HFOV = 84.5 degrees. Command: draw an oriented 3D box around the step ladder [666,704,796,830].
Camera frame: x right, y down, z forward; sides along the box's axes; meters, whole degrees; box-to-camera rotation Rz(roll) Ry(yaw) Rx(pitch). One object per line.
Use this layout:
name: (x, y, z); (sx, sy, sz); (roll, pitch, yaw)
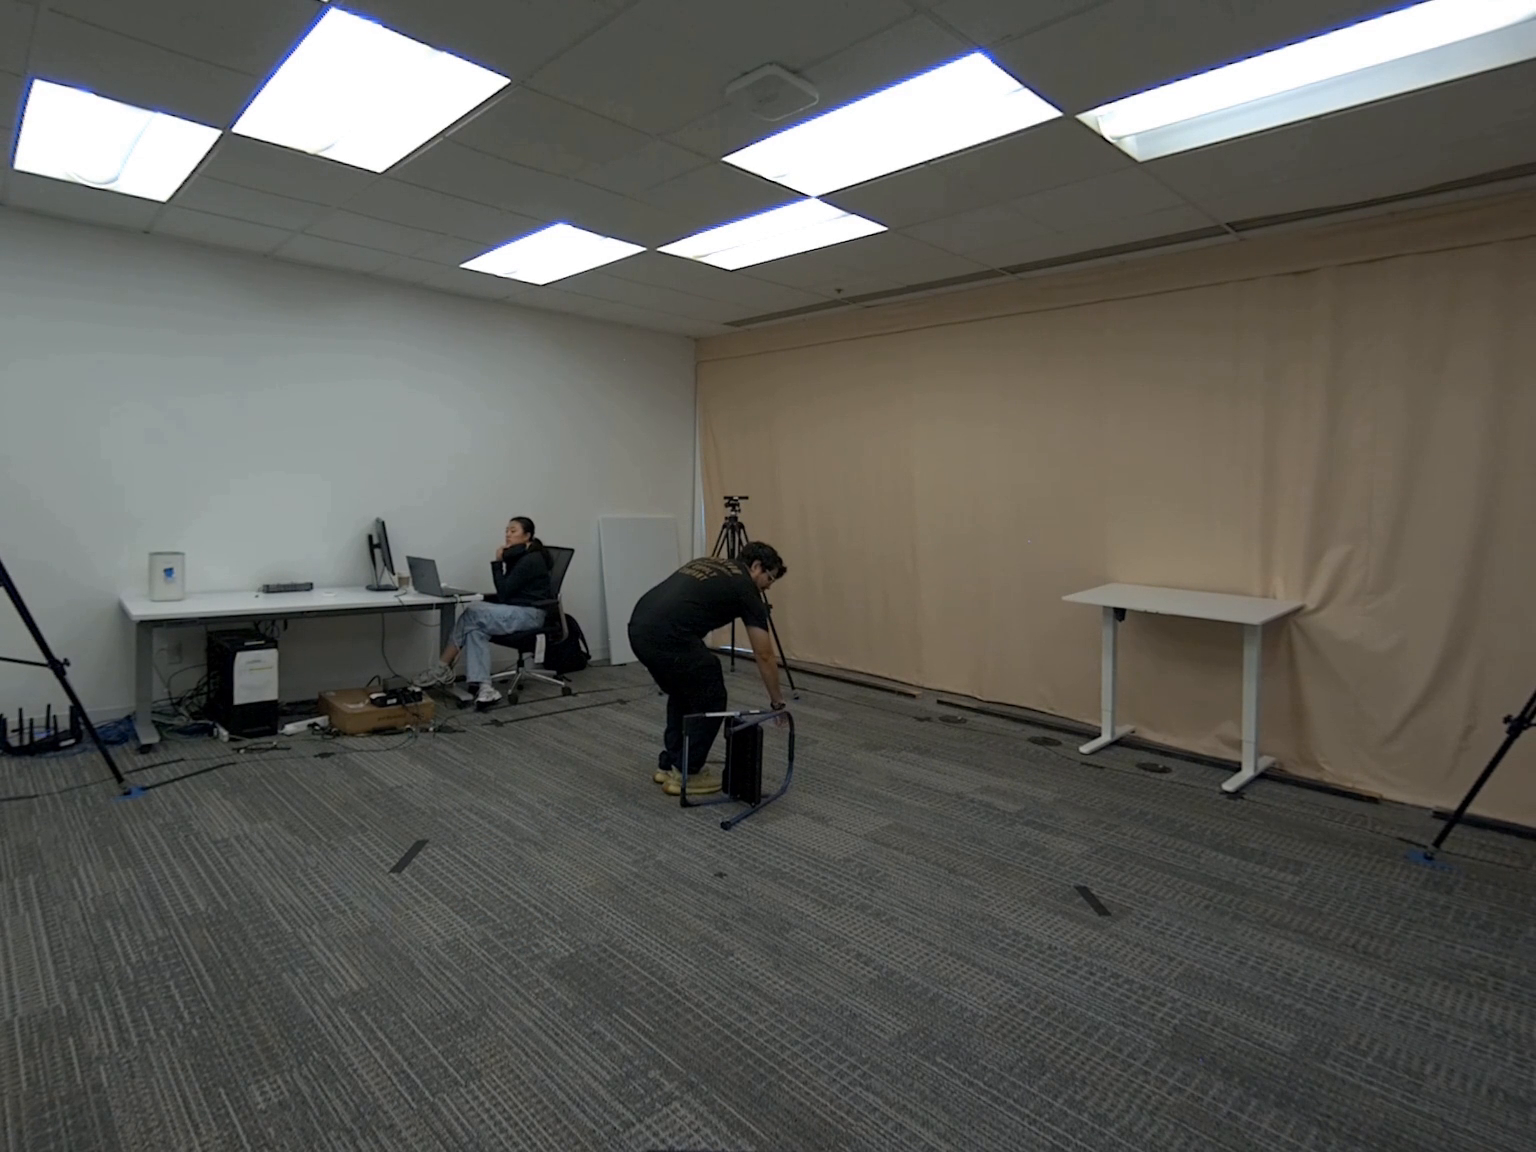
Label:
step ladder: (-0.063, 0.835, 3.829); (0.591, 0.430, 0.358); (1, 4, -41)
